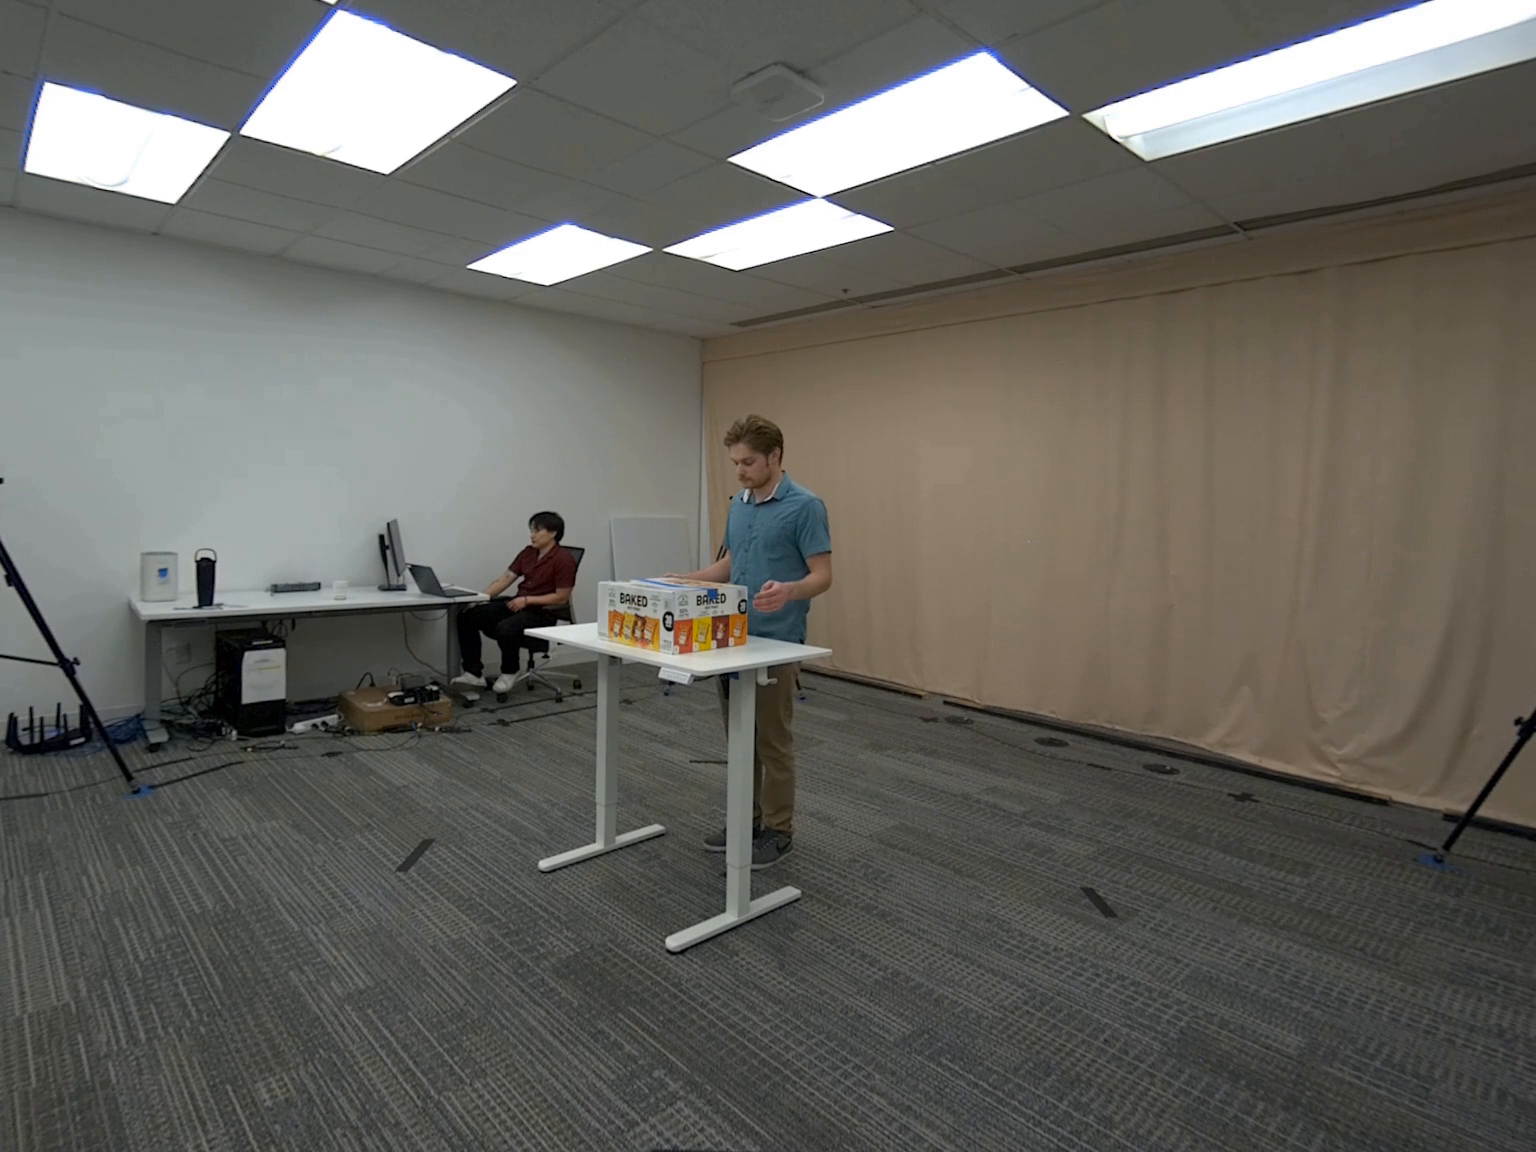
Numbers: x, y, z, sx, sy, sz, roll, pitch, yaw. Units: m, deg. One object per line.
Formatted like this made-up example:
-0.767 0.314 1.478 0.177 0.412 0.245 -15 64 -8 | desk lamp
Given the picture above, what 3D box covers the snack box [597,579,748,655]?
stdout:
-0.344 0.131 2.931 0.415 0.205 0.332 5 5 44 | snack box
